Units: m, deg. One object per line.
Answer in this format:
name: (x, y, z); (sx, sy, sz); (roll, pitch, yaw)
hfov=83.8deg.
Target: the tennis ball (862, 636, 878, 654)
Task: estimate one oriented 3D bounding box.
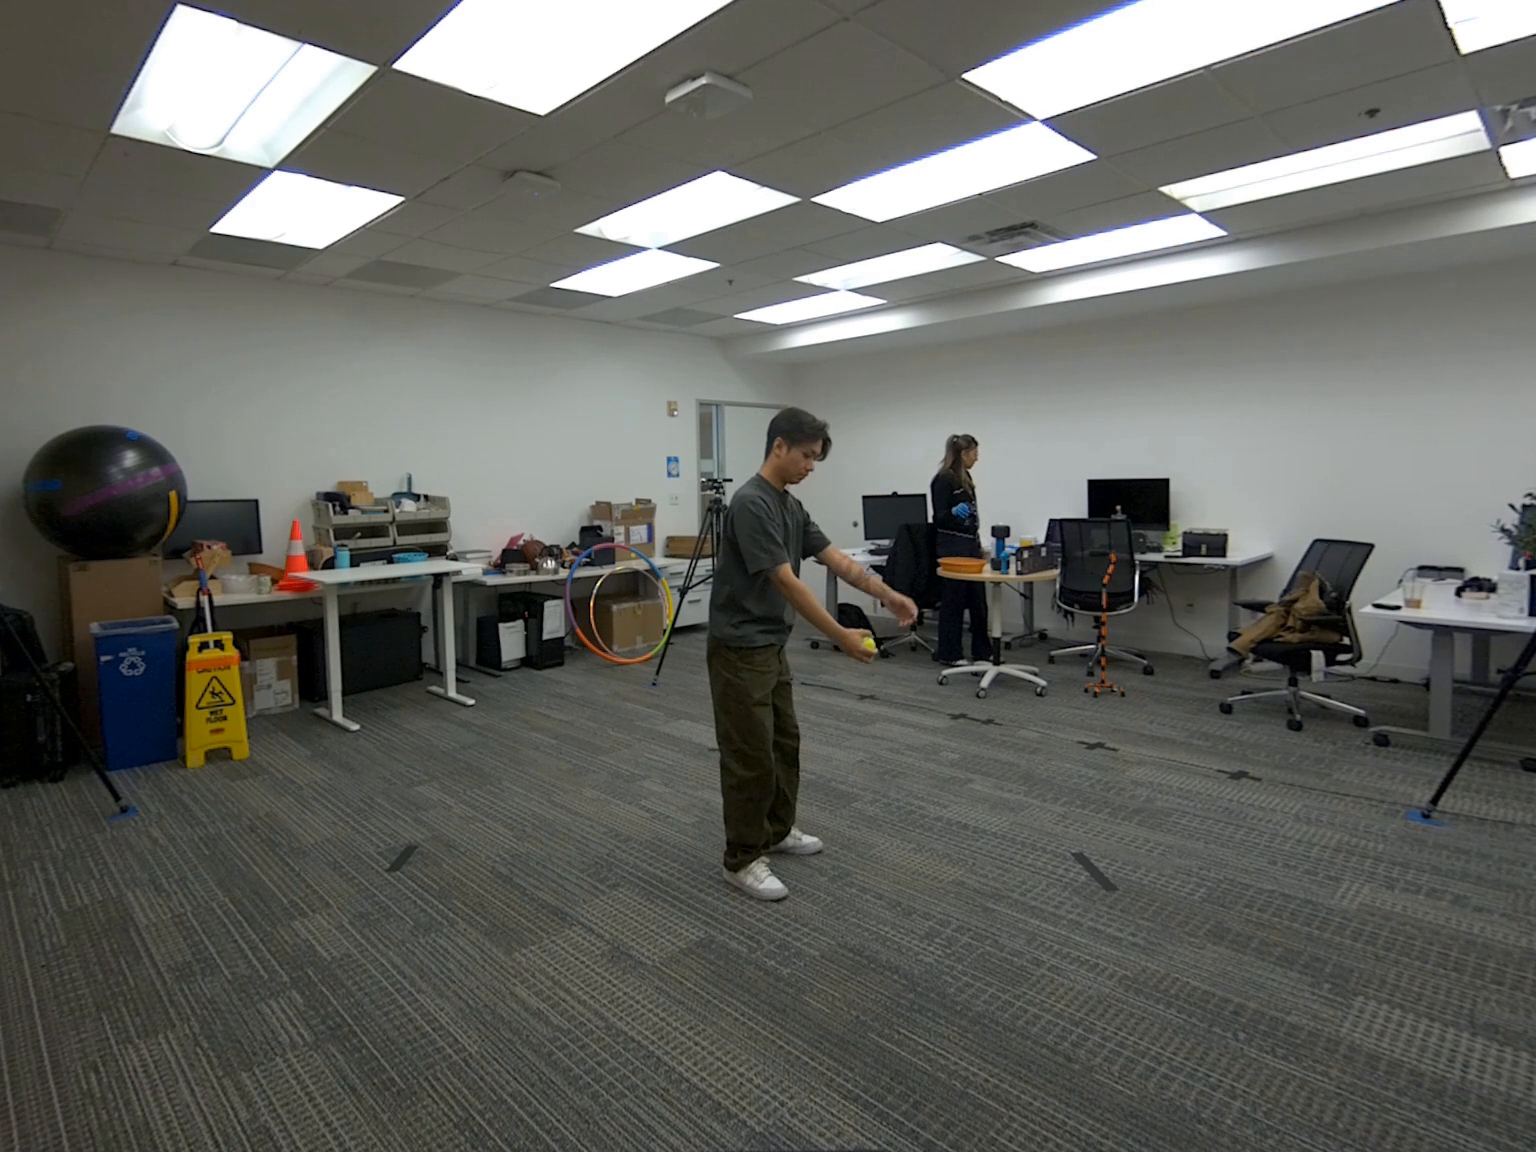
tennis ball: (0.315, 0.203, 2.776); (0.066, 0.066, 0.067); (-1, 5, -2)
